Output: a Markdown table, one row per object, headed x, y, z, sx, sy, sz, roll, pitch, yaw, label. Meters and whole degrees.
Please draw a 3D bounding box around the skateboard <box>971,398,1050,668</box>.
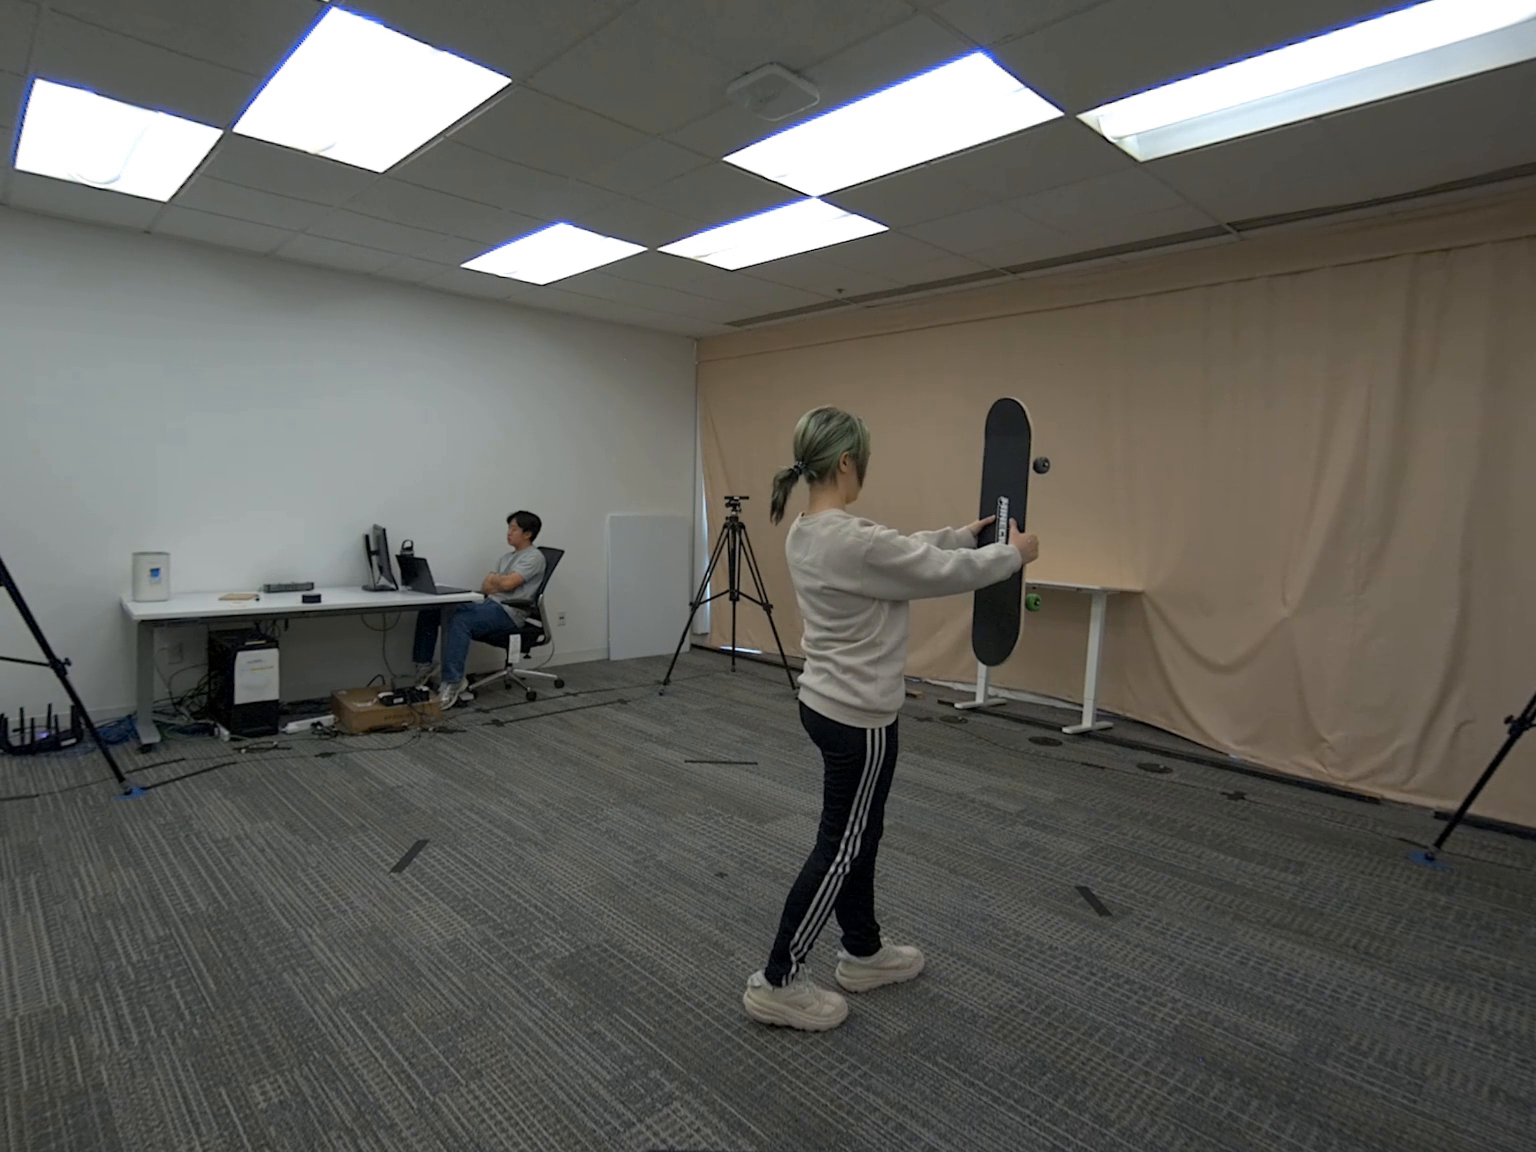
| x | y | z | sx | sy | sz | roll | pitch | yaw | label |
| --- | --- | --- | --- | --- | --- | --- | --- | --- | --- |
| 0.708 | -0.124 | 2.483 | 0.108 | 0.786 | 0.197 | 3 | -1 | -28 | skateboard |
